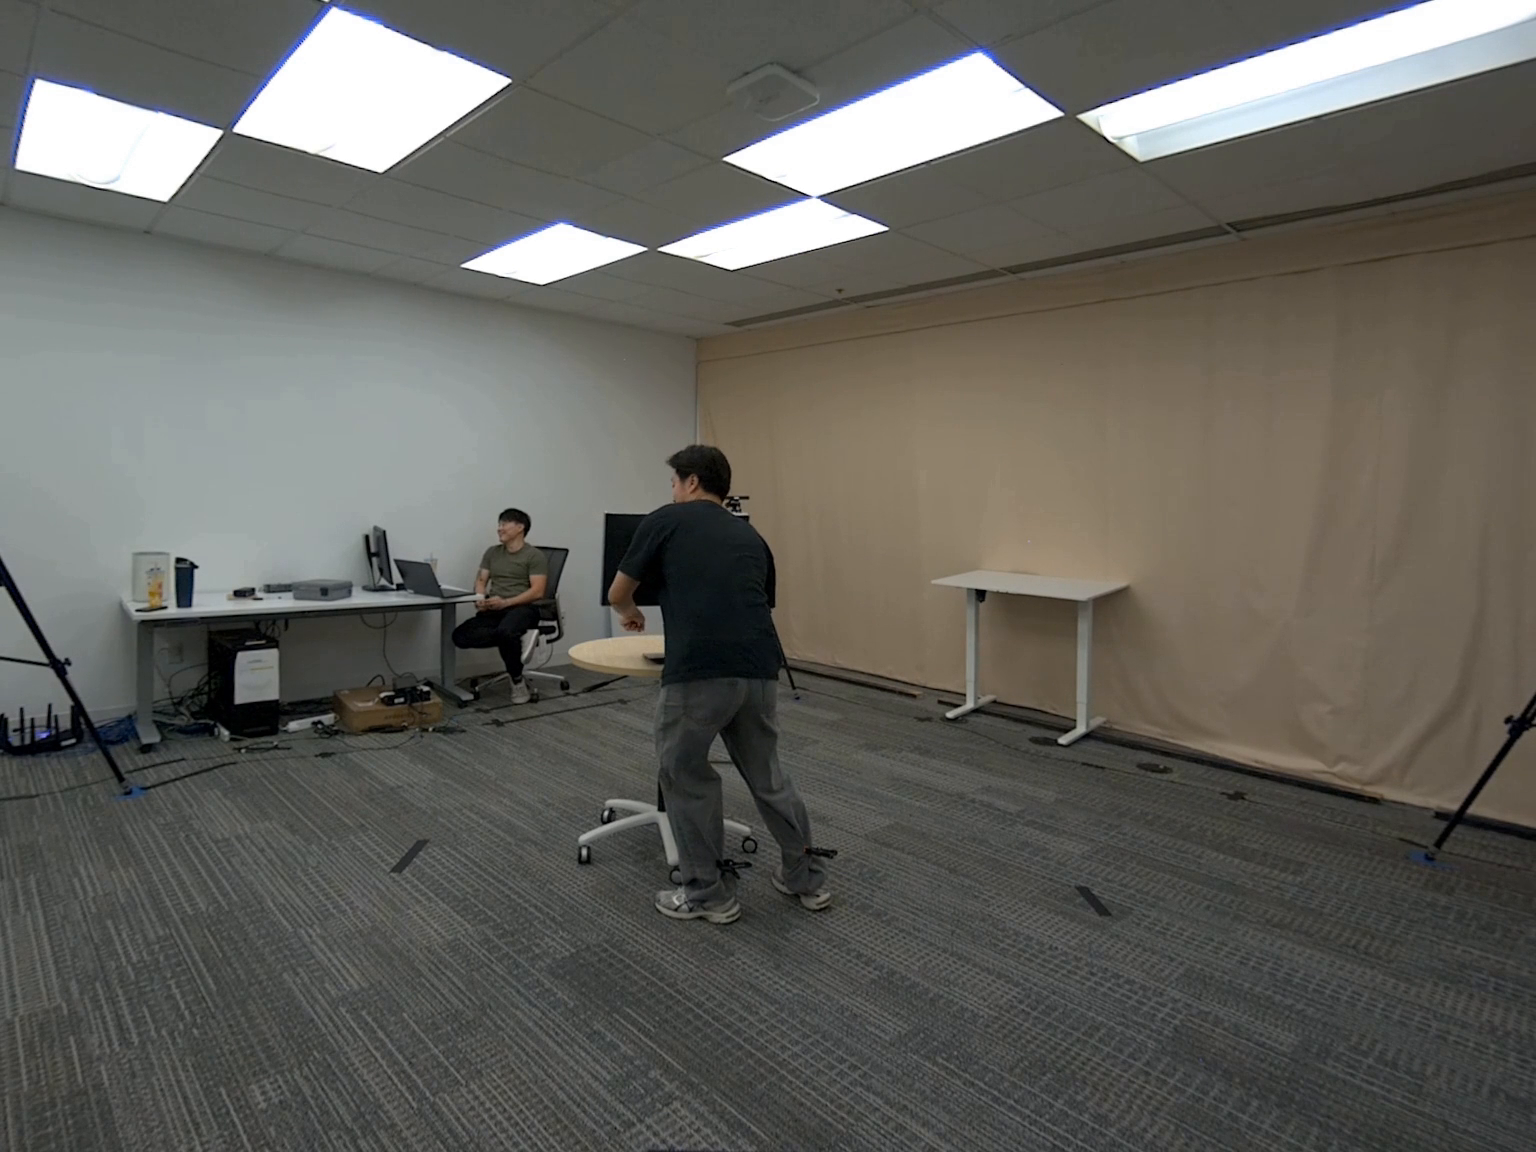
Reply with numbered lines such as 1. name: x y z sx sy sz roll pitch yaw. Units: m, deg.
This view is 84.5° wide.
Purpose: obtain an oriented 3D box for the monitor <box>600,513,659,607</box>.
1. monitor: -0.343 0.045 3.160 0.555 0.566 0.224 1 -1 -15
